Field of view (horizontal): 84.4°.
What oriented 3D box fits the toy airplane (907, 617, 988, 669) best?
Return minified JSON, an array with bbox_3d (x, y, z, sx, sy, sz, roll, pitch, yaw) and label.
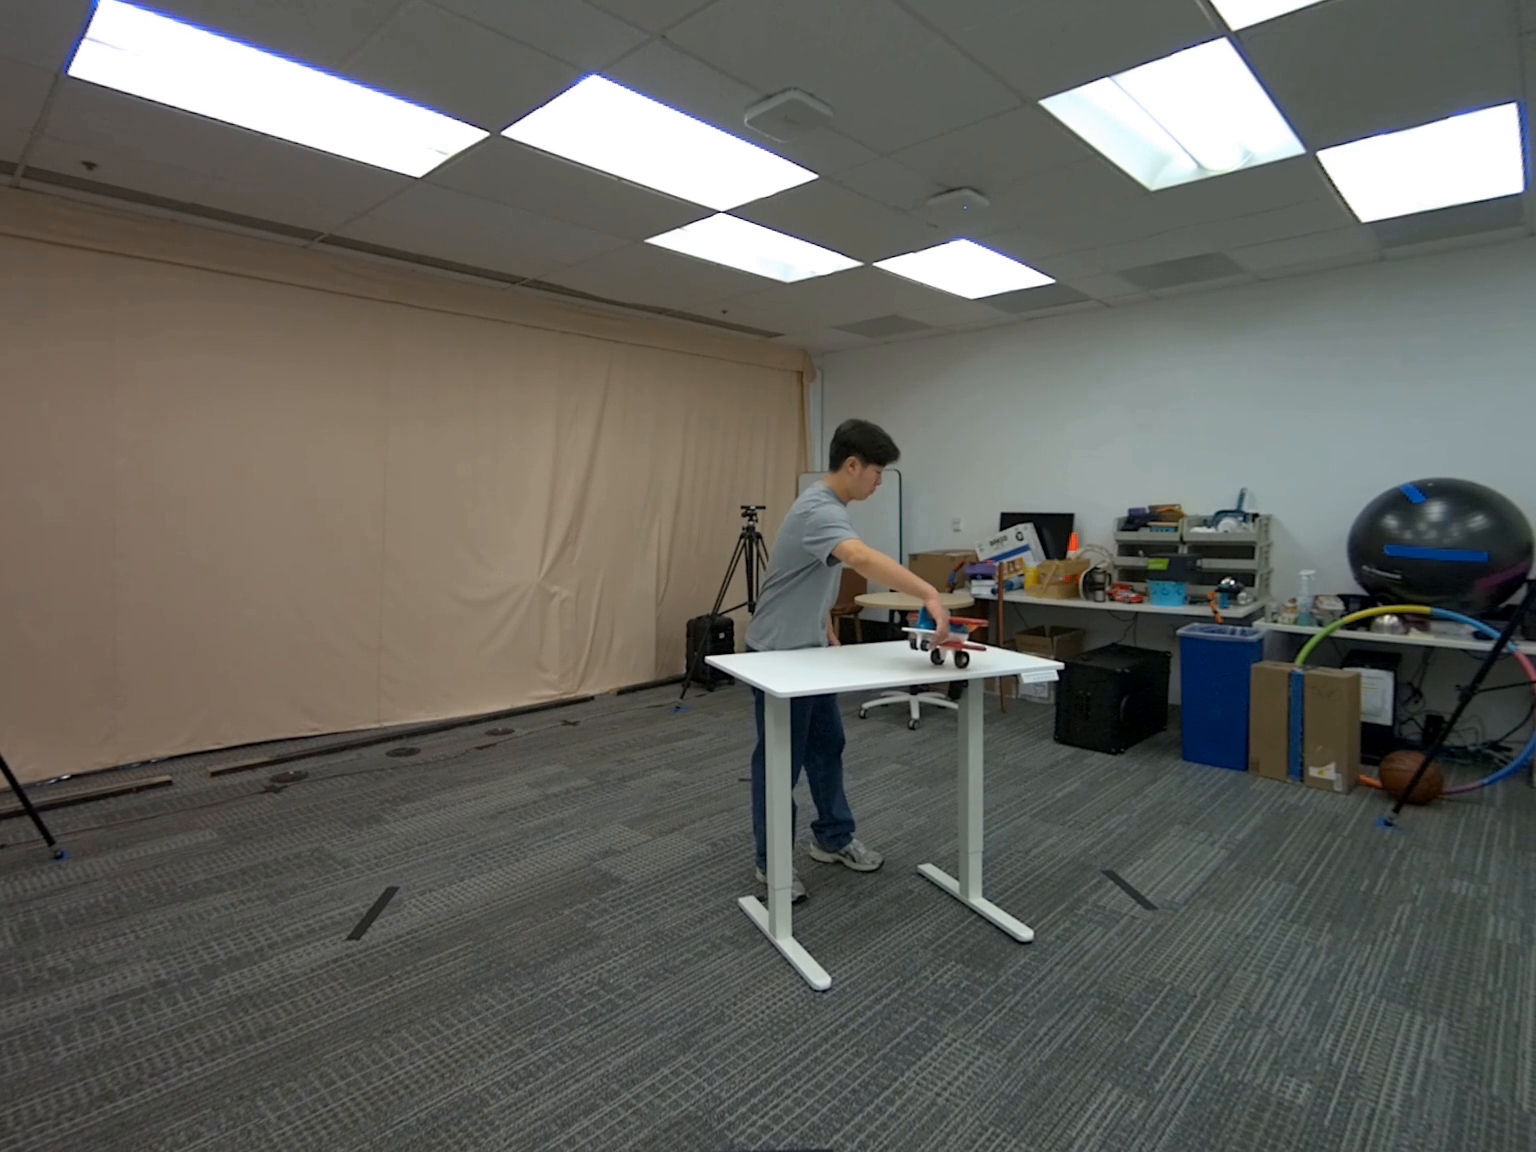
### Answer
[{"bbox_3d":[0.550,0.186,2.601,0.257,0.157,0.252,11,-14,19],"label":"toy airplane"}]
